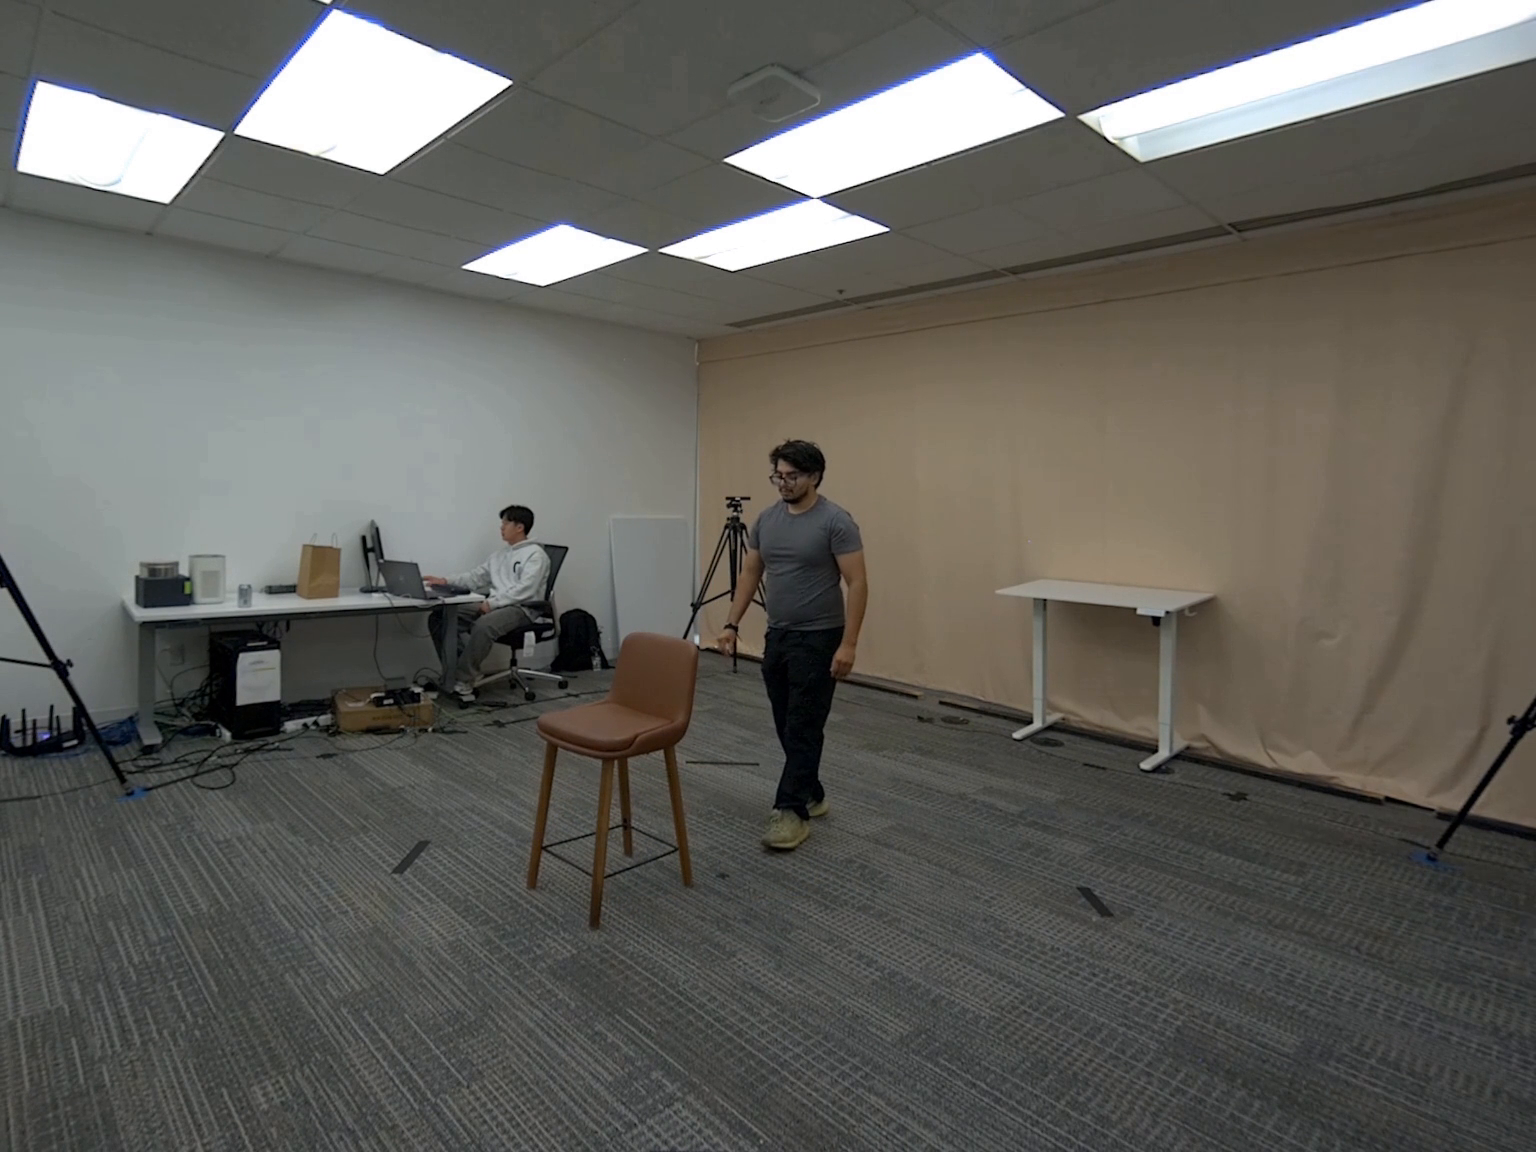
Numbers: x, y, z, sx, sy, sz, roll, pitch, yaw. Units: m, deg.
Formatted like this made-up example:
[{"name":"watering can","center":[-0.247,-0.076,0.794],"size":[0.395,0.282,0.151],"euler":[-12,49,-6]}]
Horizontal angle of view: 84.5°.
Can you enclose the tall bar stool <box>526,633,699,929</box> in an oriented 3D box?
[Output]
[{"name":"tall bar stool","center":[-0.546,0.676,2.969],"size":[0.468,0.888,0.456],"euler":[4,3,44]}]
